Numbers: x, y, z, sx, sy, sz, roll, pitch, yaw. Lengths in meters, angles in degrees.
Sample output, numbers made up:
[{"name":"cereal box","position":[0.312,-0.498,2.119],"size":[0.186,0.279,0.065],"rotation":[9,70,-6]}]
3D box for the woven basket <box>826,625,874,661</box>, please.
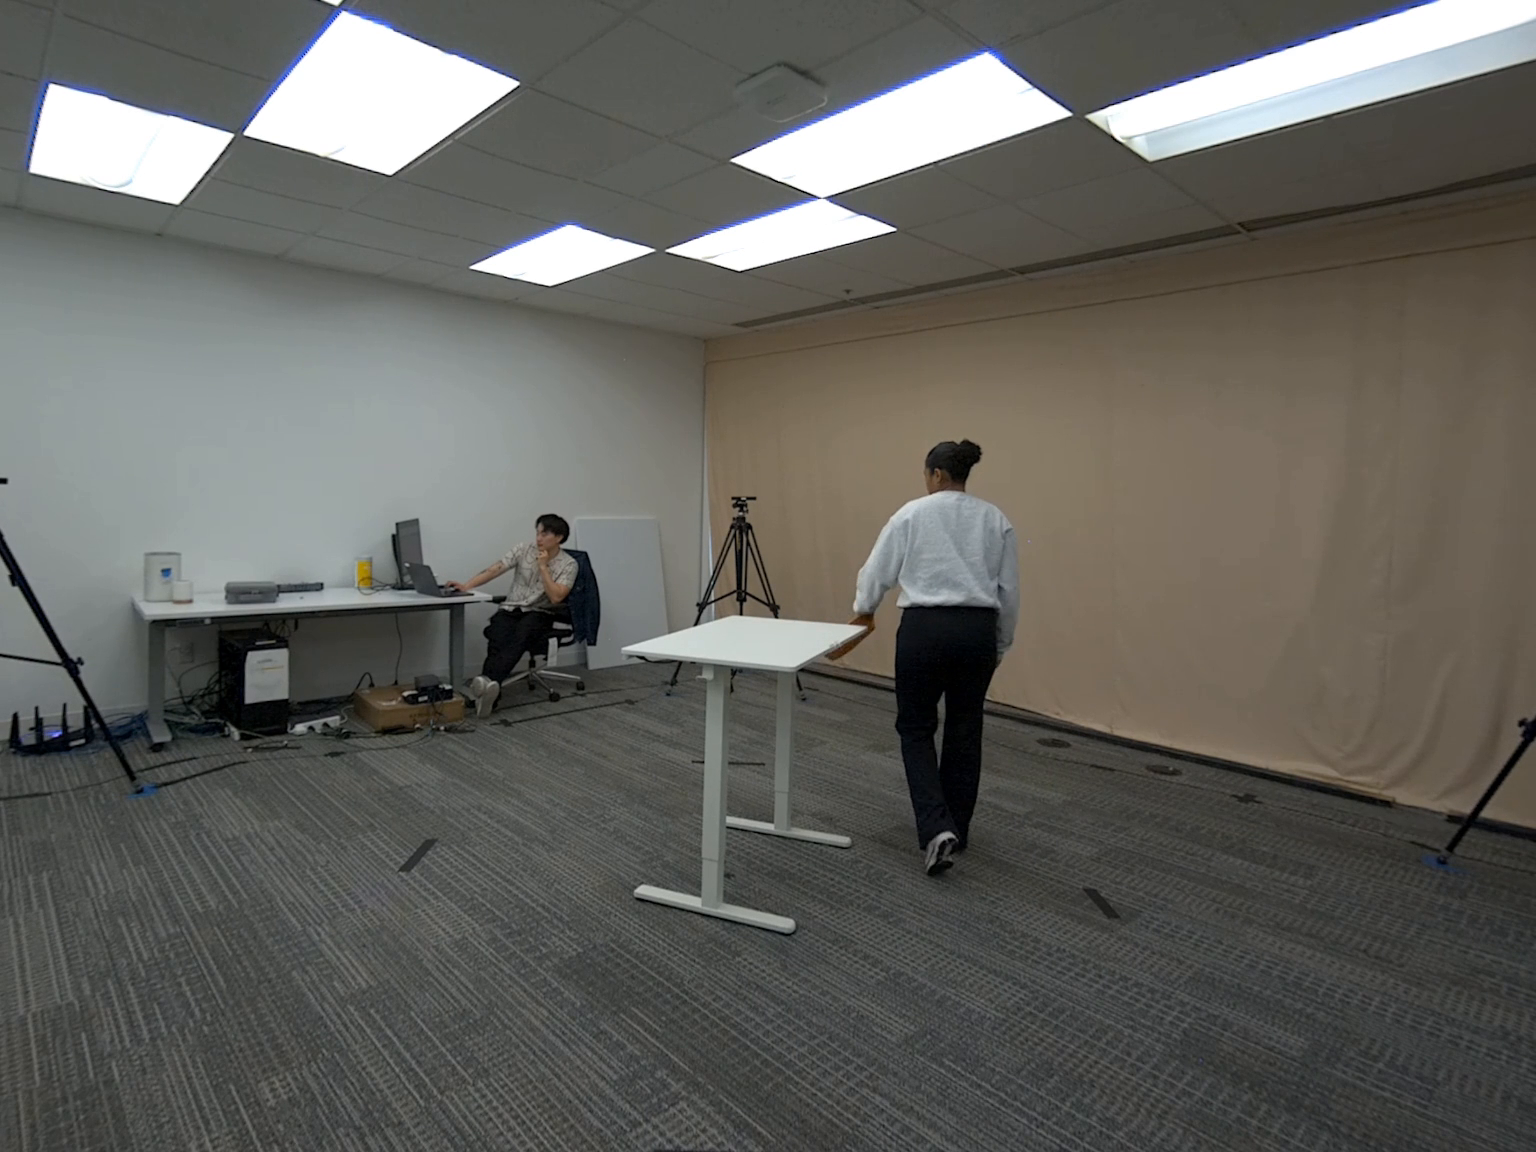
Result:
[{"name":"woven basket","position":[0.354,0.265,3.762],"size":[0.250,0.074,0.348],"rotation":[-31,-14,-32]}]
